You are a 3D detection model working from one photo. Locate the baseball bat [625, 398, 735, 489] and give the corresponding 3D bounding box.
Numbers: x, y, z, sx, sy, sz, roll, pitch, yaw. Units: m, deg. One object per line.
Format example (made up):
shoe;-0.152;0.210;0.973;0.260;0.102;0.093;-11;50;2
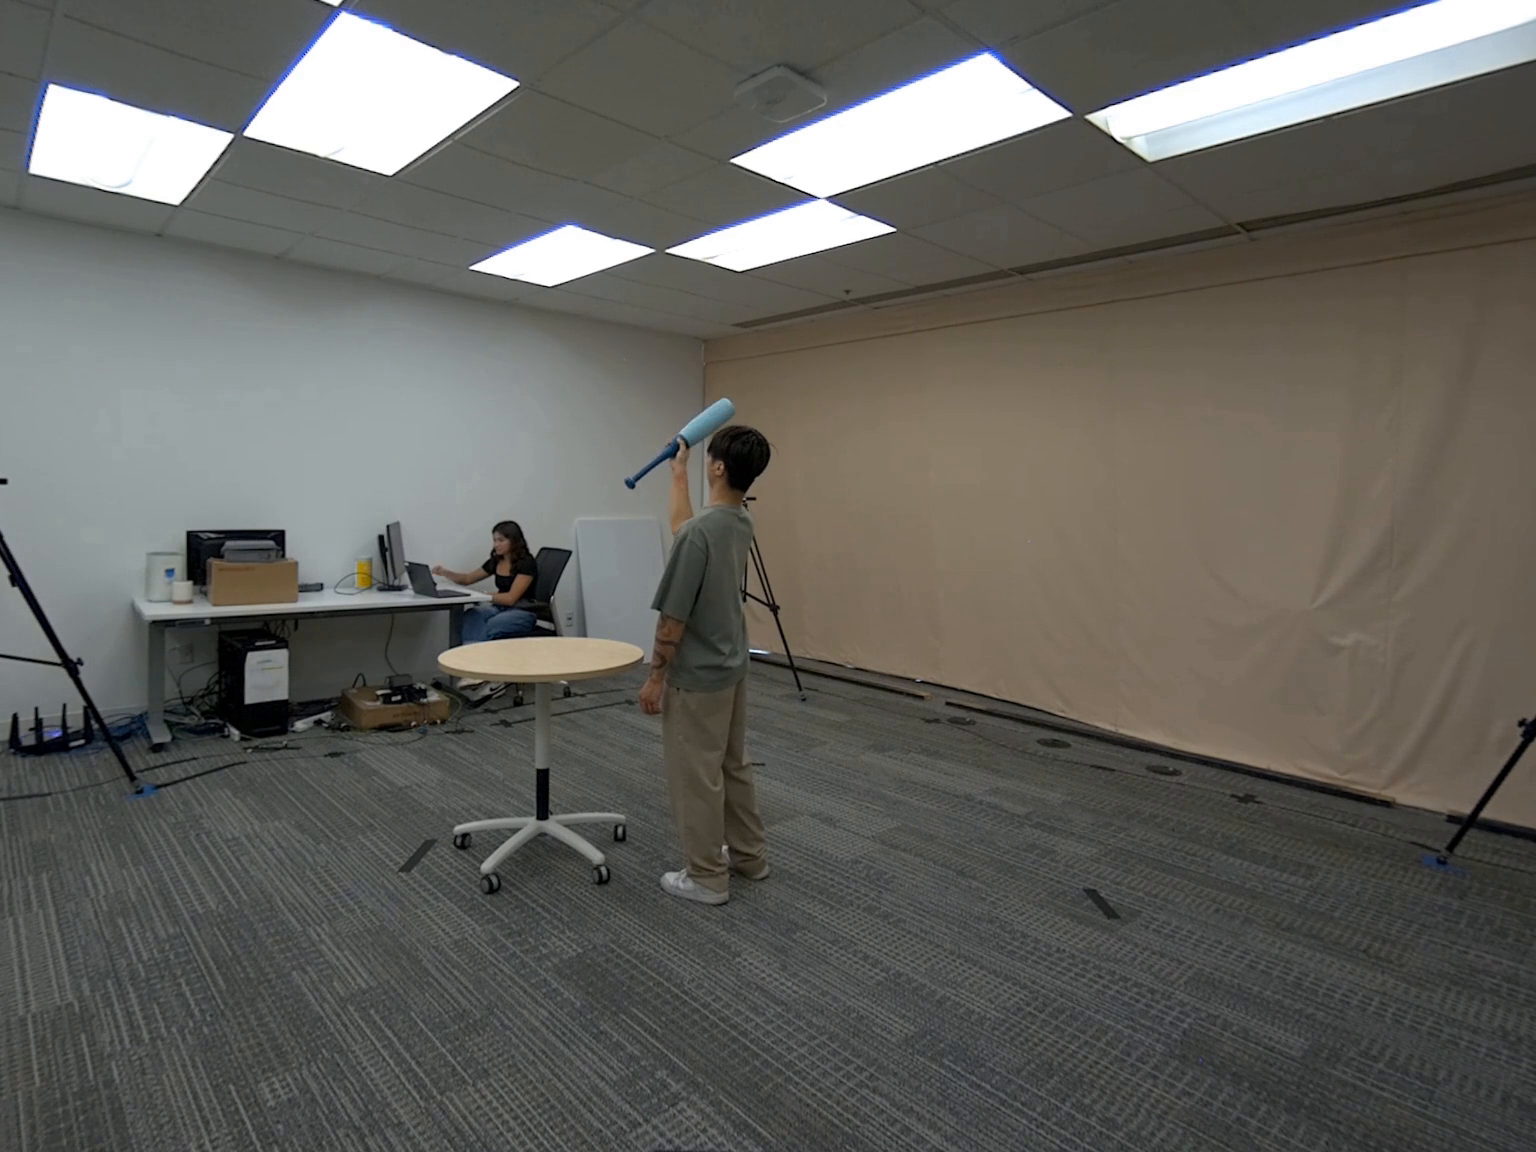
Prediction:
baseball bat;-0.368;-0.511;3.281;0.542;0.087;0.091;-42;22;-19
